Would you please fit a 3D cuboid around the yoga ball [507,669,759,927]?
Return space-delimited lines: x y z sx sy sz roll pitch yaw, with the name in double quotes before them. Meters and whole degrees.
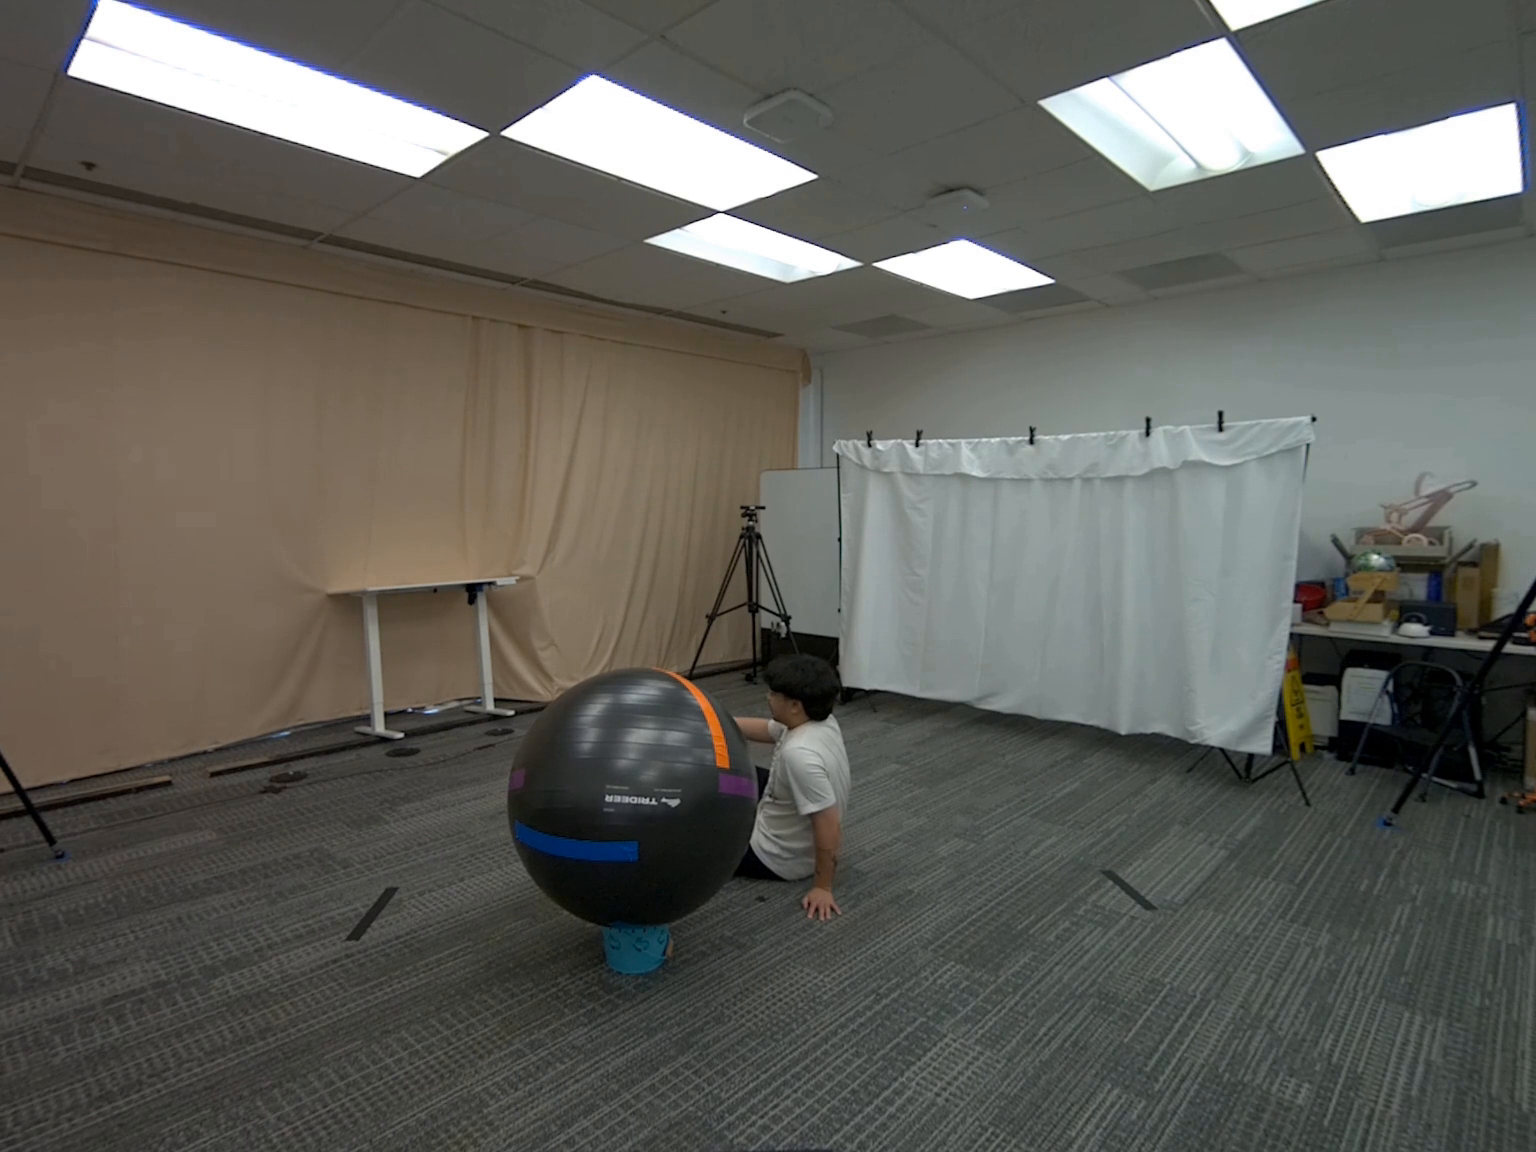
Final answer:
"yoga ball" -0.420 0.667 2.579 0.757 0.756 0.761 0 4 -2
